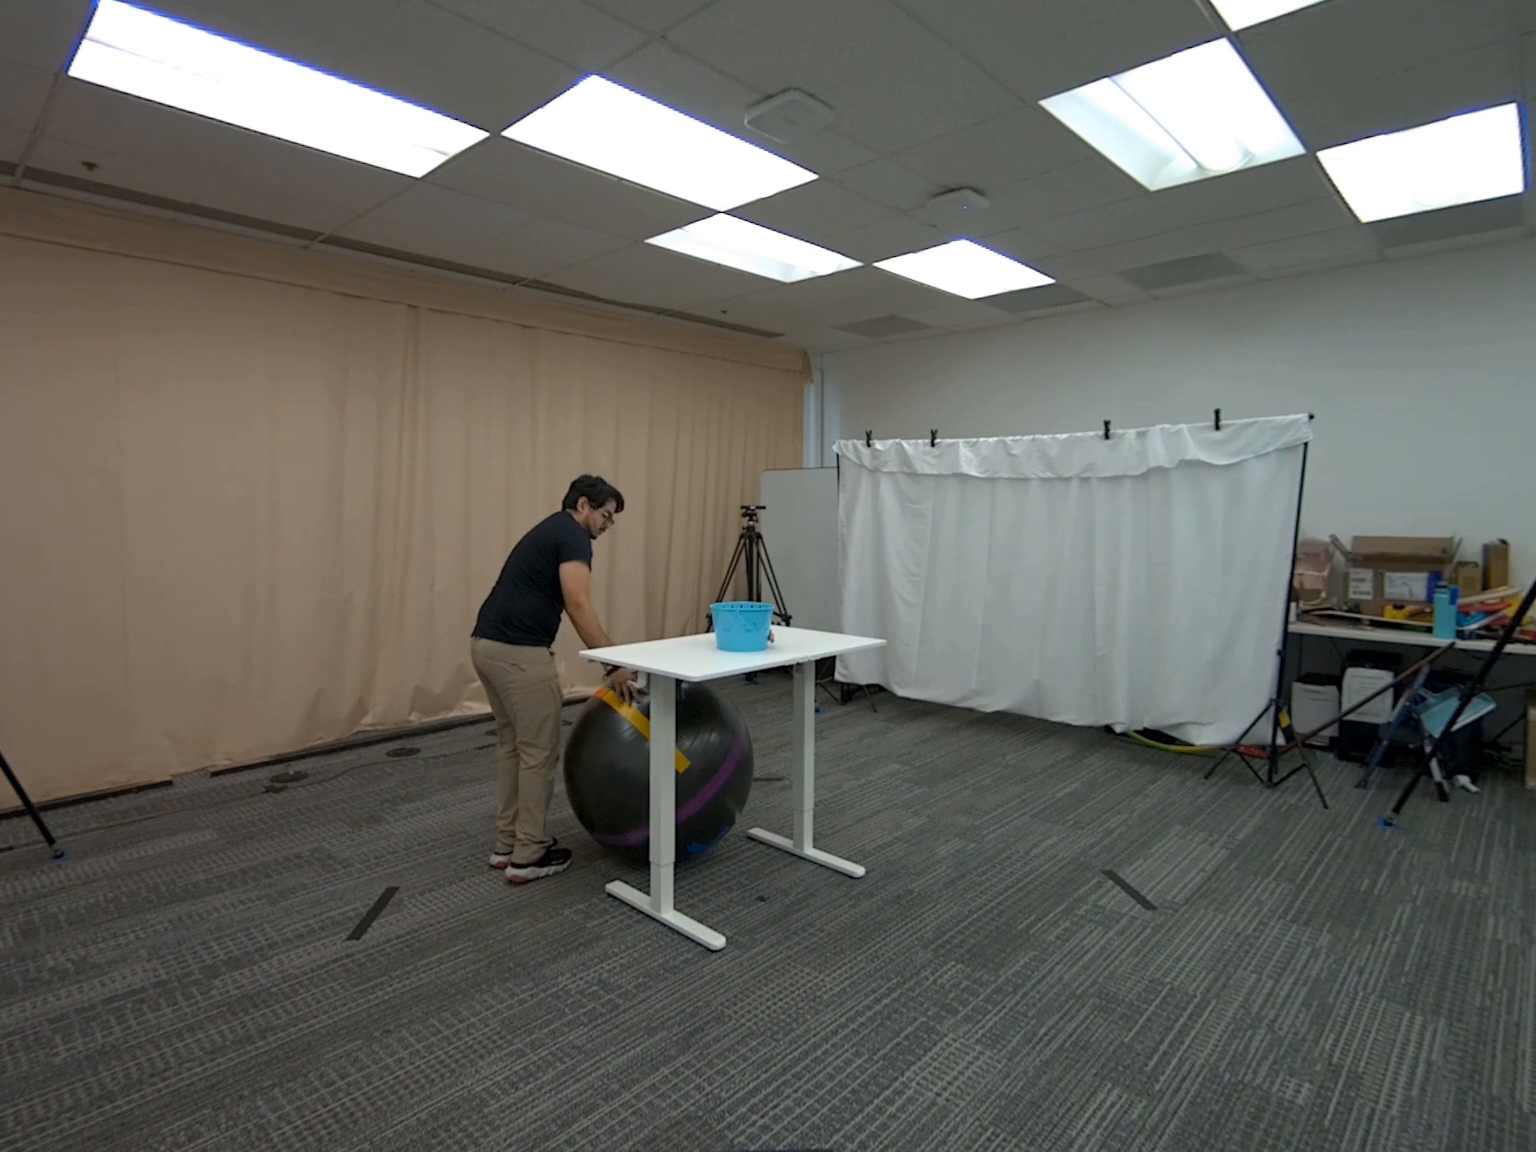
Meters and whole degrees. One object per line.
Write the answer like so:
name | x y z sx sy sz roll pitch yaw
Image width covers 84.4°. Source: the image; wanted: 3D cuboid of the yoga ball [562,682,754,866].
yoga ball | -0.435 0.755 3.374 0.757 0.756 0.760 0 4 -2
